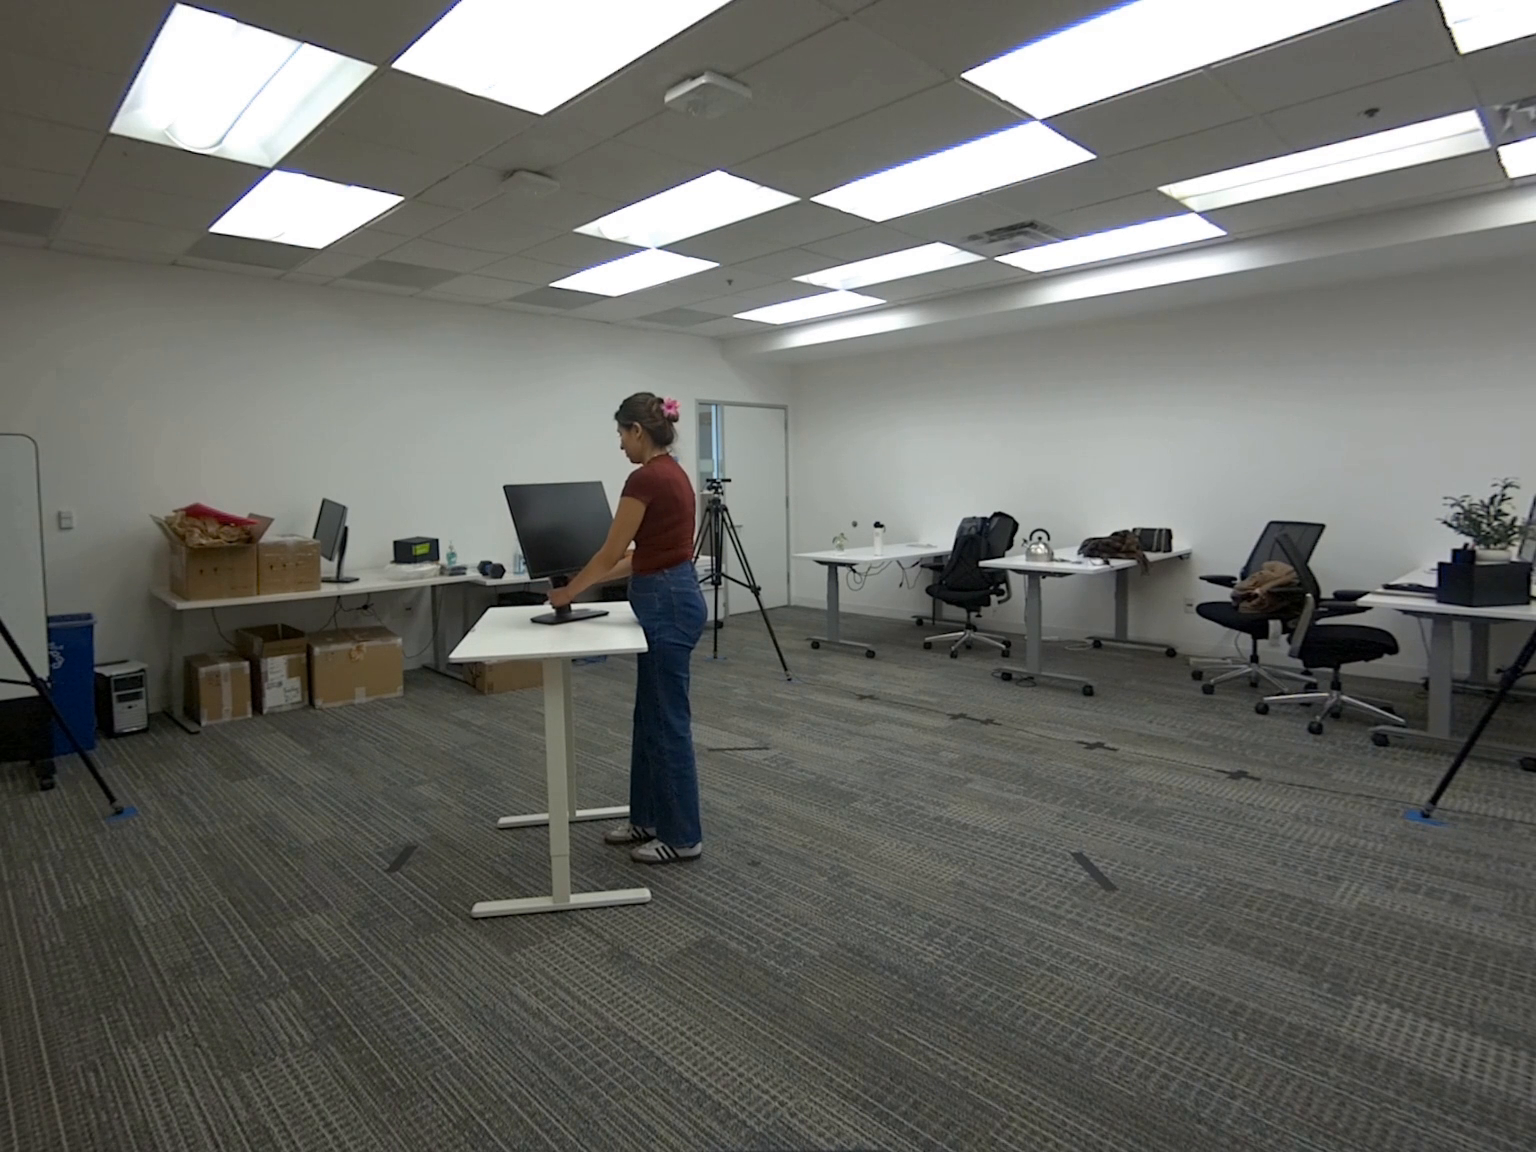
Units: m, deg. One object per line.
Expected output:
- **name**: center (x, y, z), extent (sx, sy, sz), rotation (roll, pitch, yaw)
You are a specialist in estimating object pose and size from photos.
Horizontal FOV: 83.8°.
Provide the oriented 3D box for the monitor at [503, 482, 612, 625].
- **monitor**: center (-0.777, -0.097, 3.254), extent (0.191, 0.521, 0.528), rotation (-3, 4, 28)
